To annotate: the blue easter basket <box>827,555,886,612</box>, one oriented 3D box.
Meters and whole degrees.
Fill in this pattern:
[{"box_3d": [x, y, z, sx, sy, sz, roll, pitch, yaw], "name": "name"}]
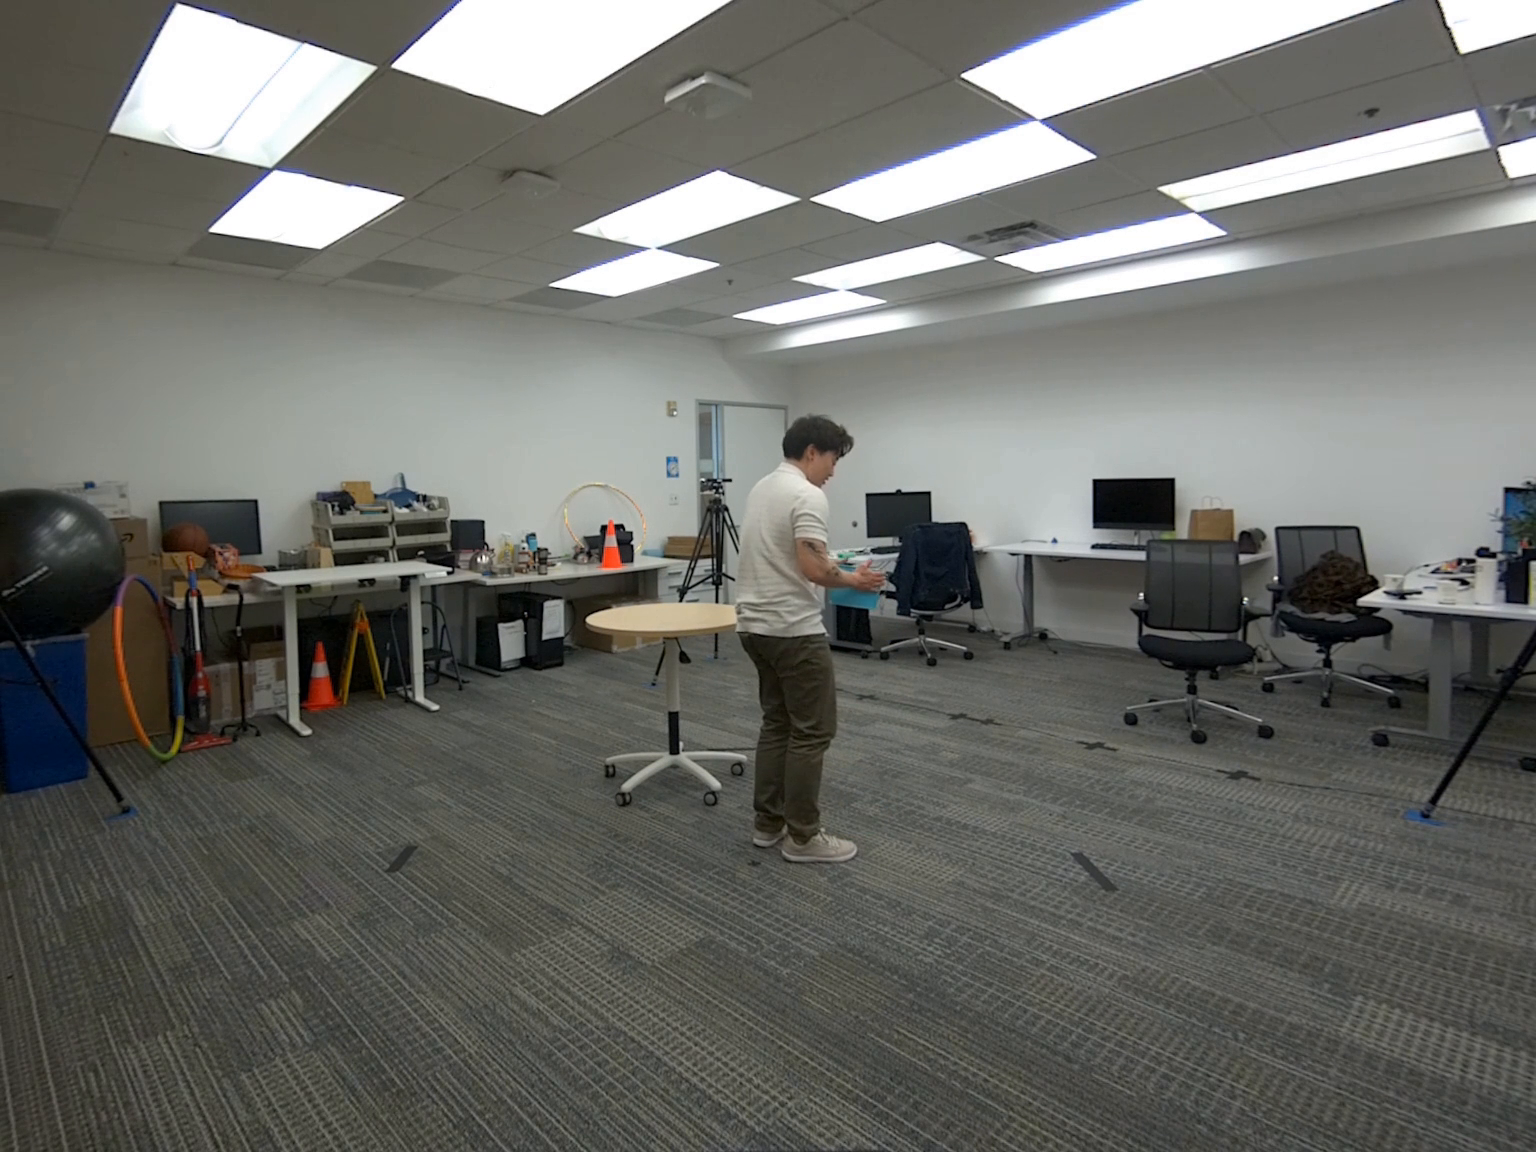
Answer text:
[{"box_3d": [0.344, 0.044, 3.338, 0.243, 0.156, 0.243, 7, -1, -2], "name": "blue easter basket"}]
